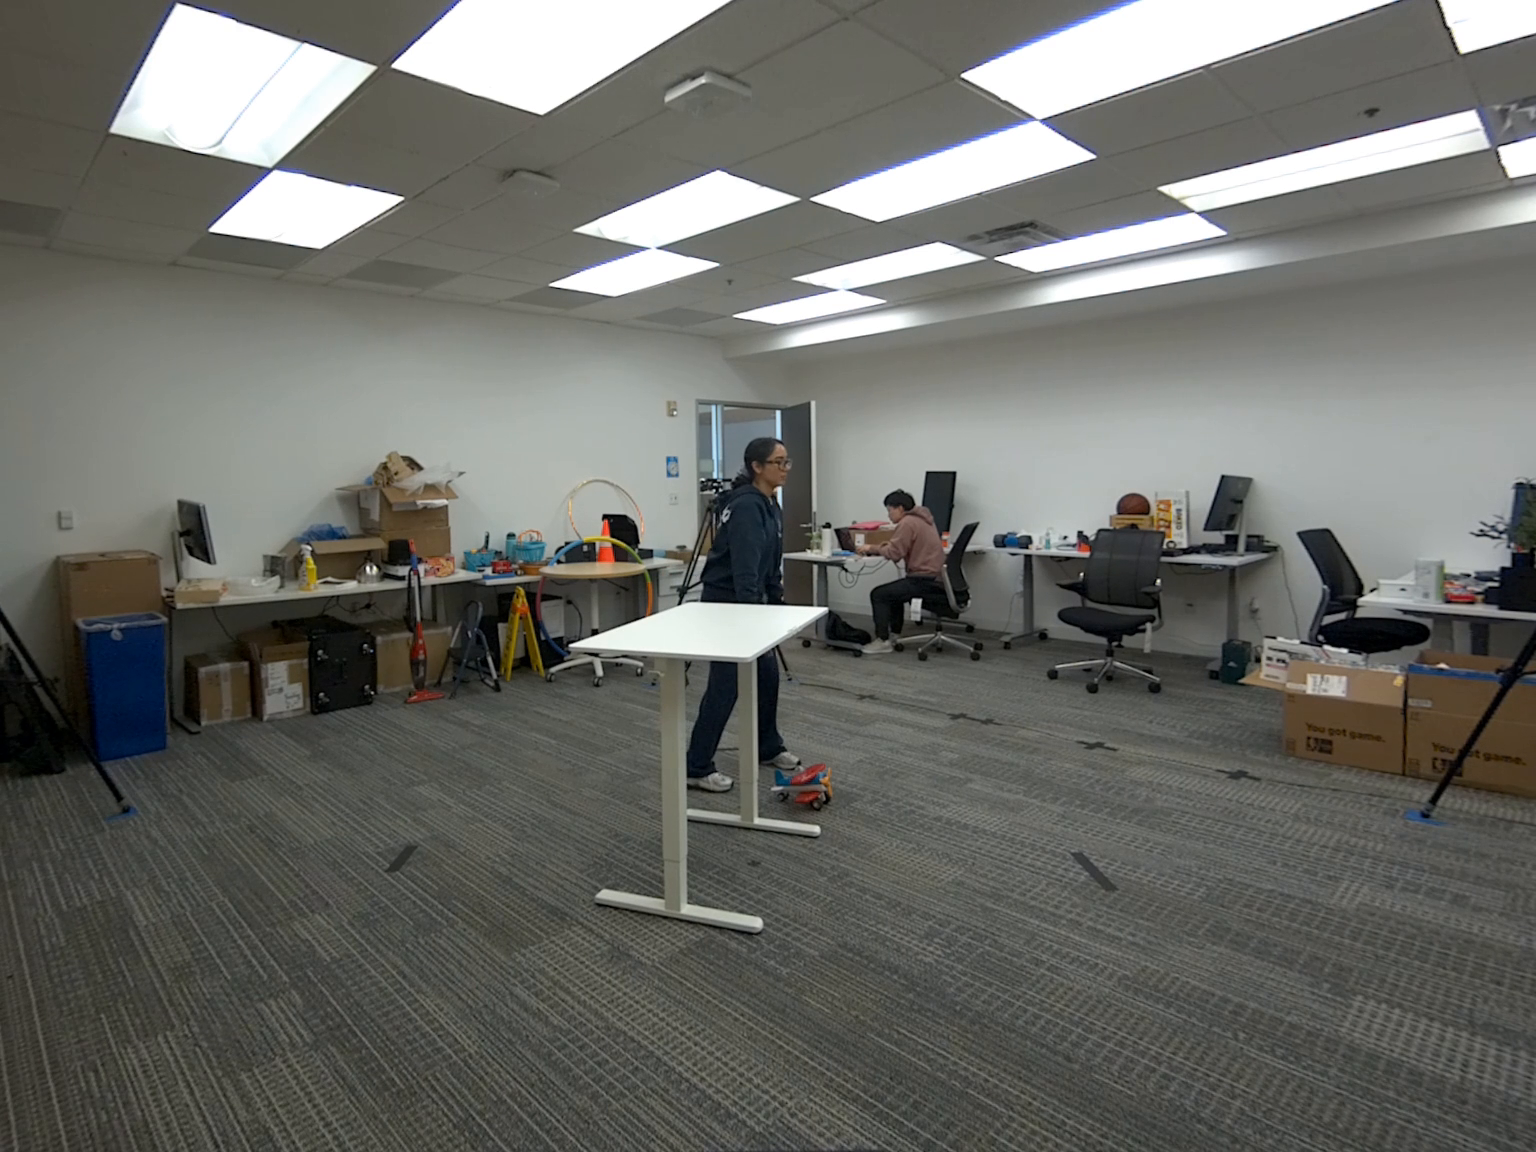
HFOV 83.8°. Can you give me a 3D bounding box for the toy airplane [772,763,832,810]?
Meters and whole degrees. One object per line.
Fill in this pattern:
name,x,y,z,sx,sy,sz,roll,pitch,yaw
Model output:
toy airplane,0.145,0.910,3.642,0.260,0.156,0.251,0,5,2
